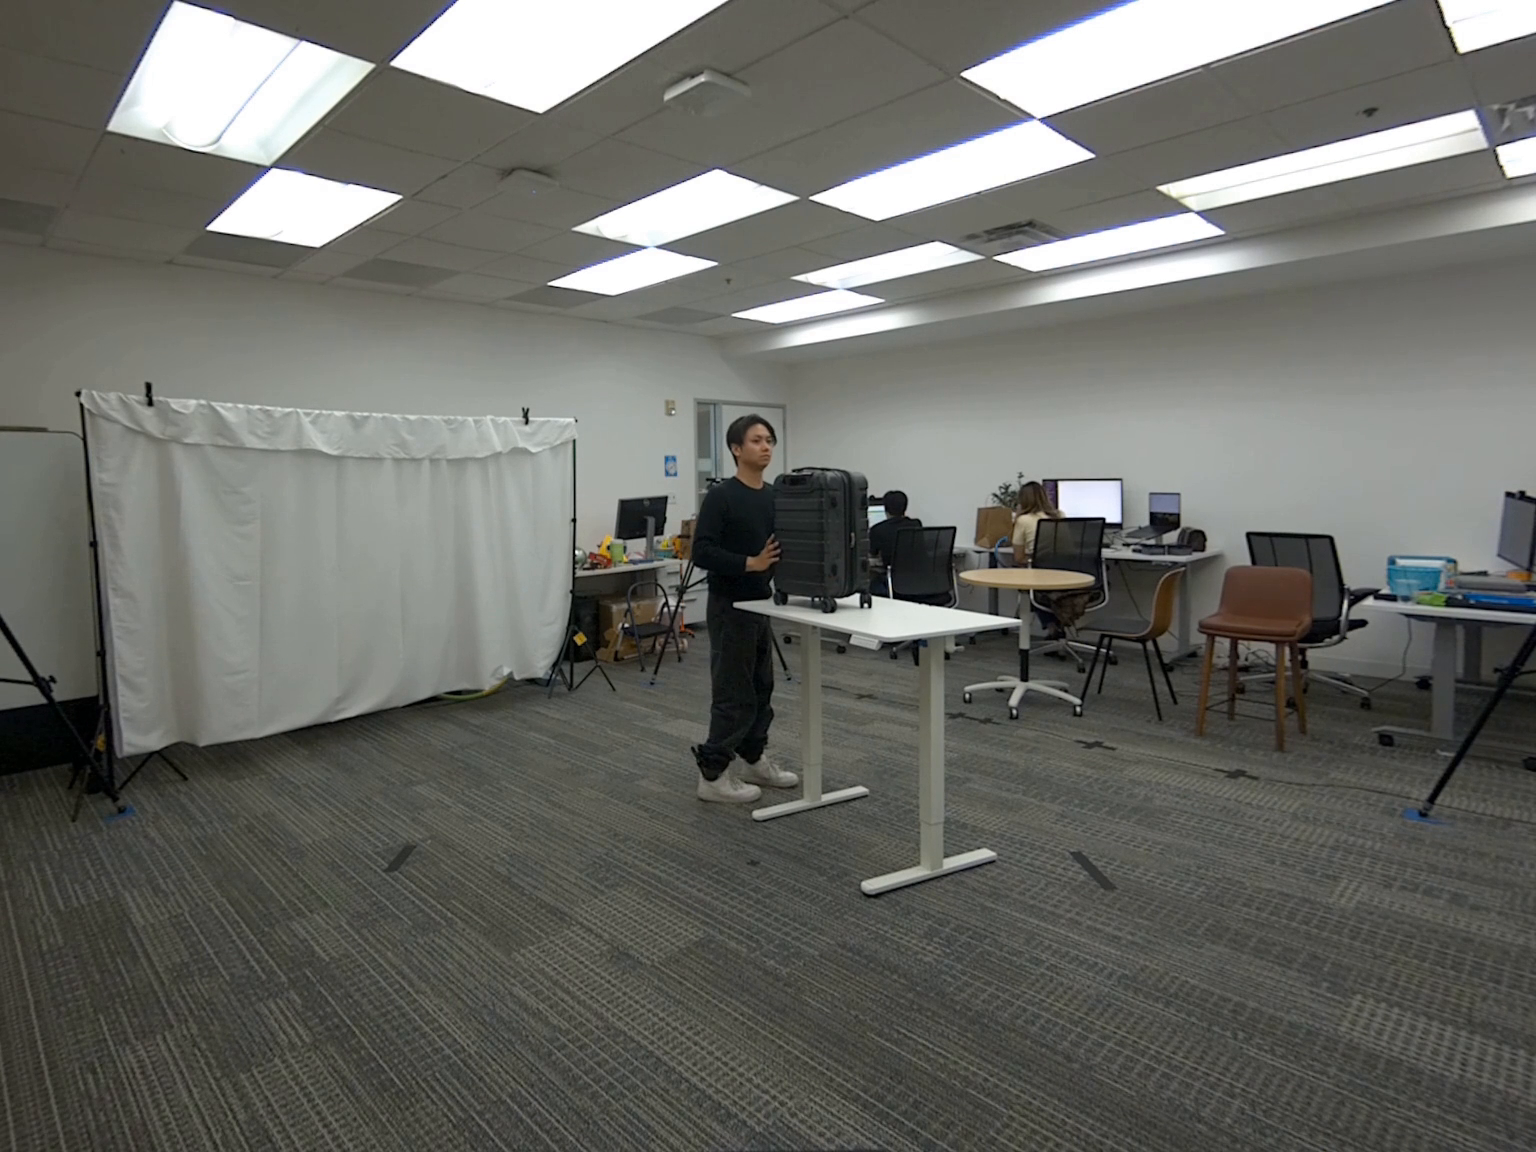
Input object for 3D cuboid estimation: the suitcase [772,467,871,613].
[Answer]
[{"bbox_3d":[0.207,-0.157,3.407,0.242,0.549,0.386,-2,2,-36],"label":"suitcase"}]
